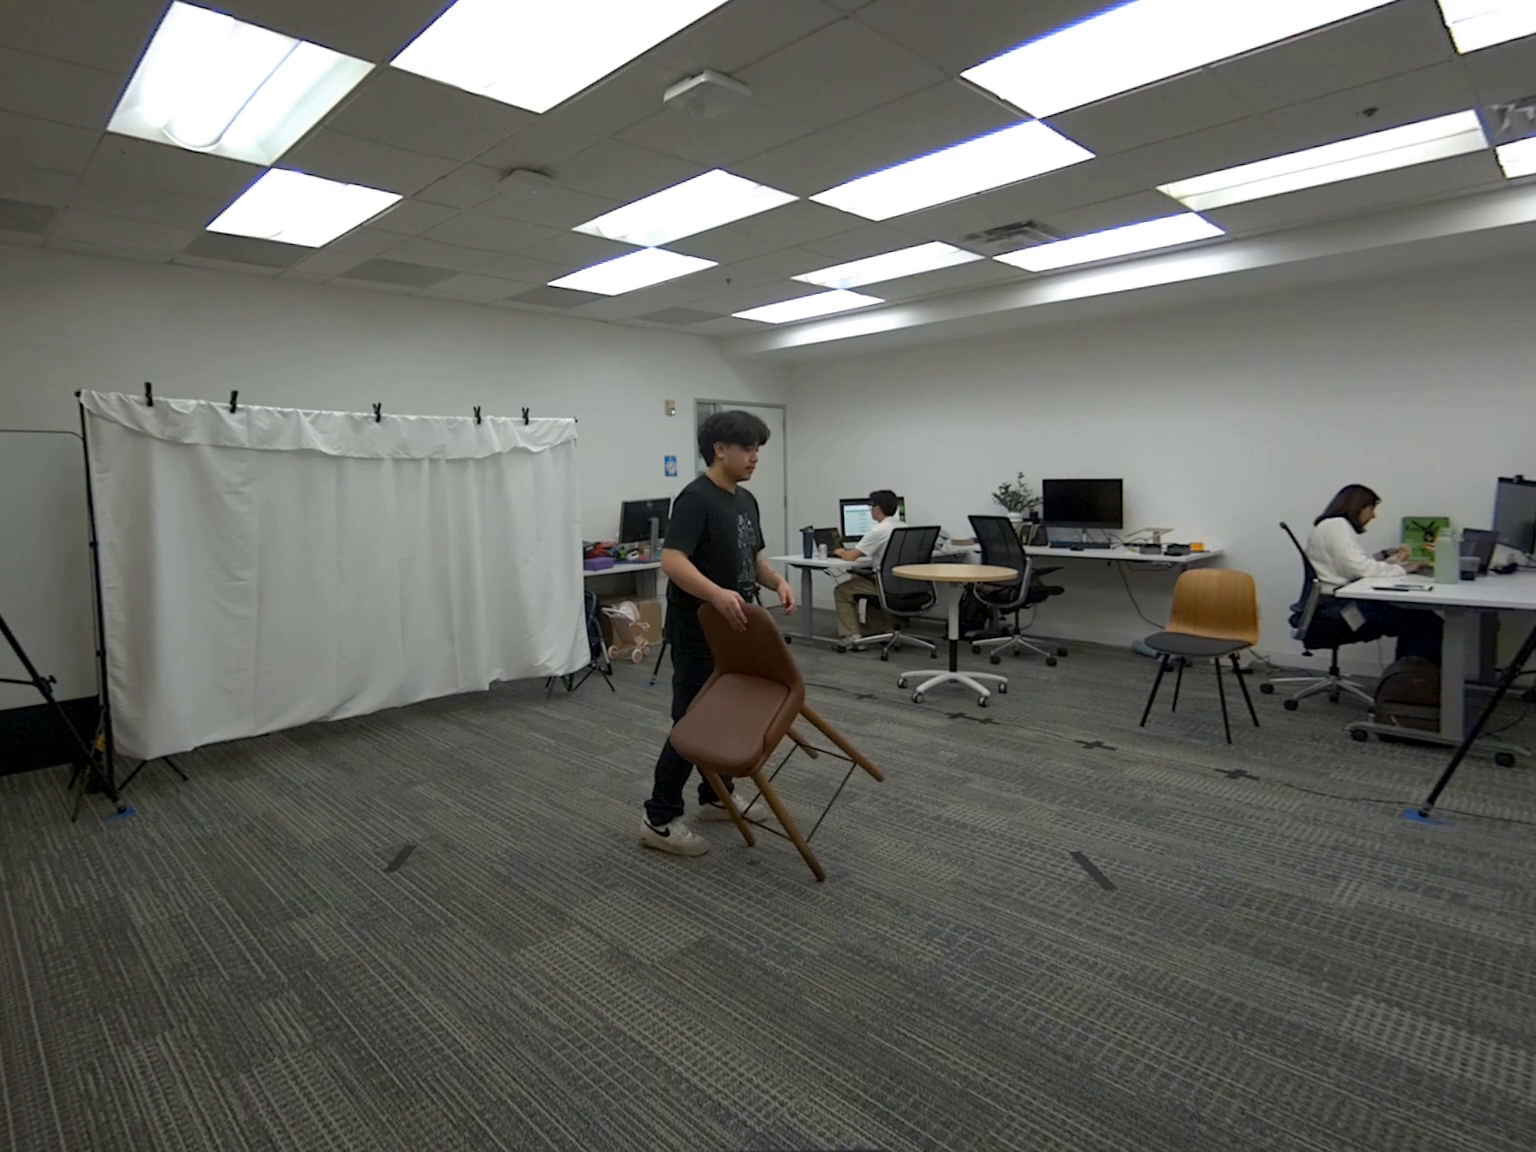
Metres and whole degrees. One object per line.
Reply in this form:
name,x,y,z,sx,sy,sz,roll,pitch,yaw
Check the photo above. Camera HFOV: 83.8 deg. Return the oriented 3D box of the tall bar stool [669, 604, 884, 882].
tall bar stool,-0.020,0.571,3.012,0.470,0.863,0.467,5,45,51
